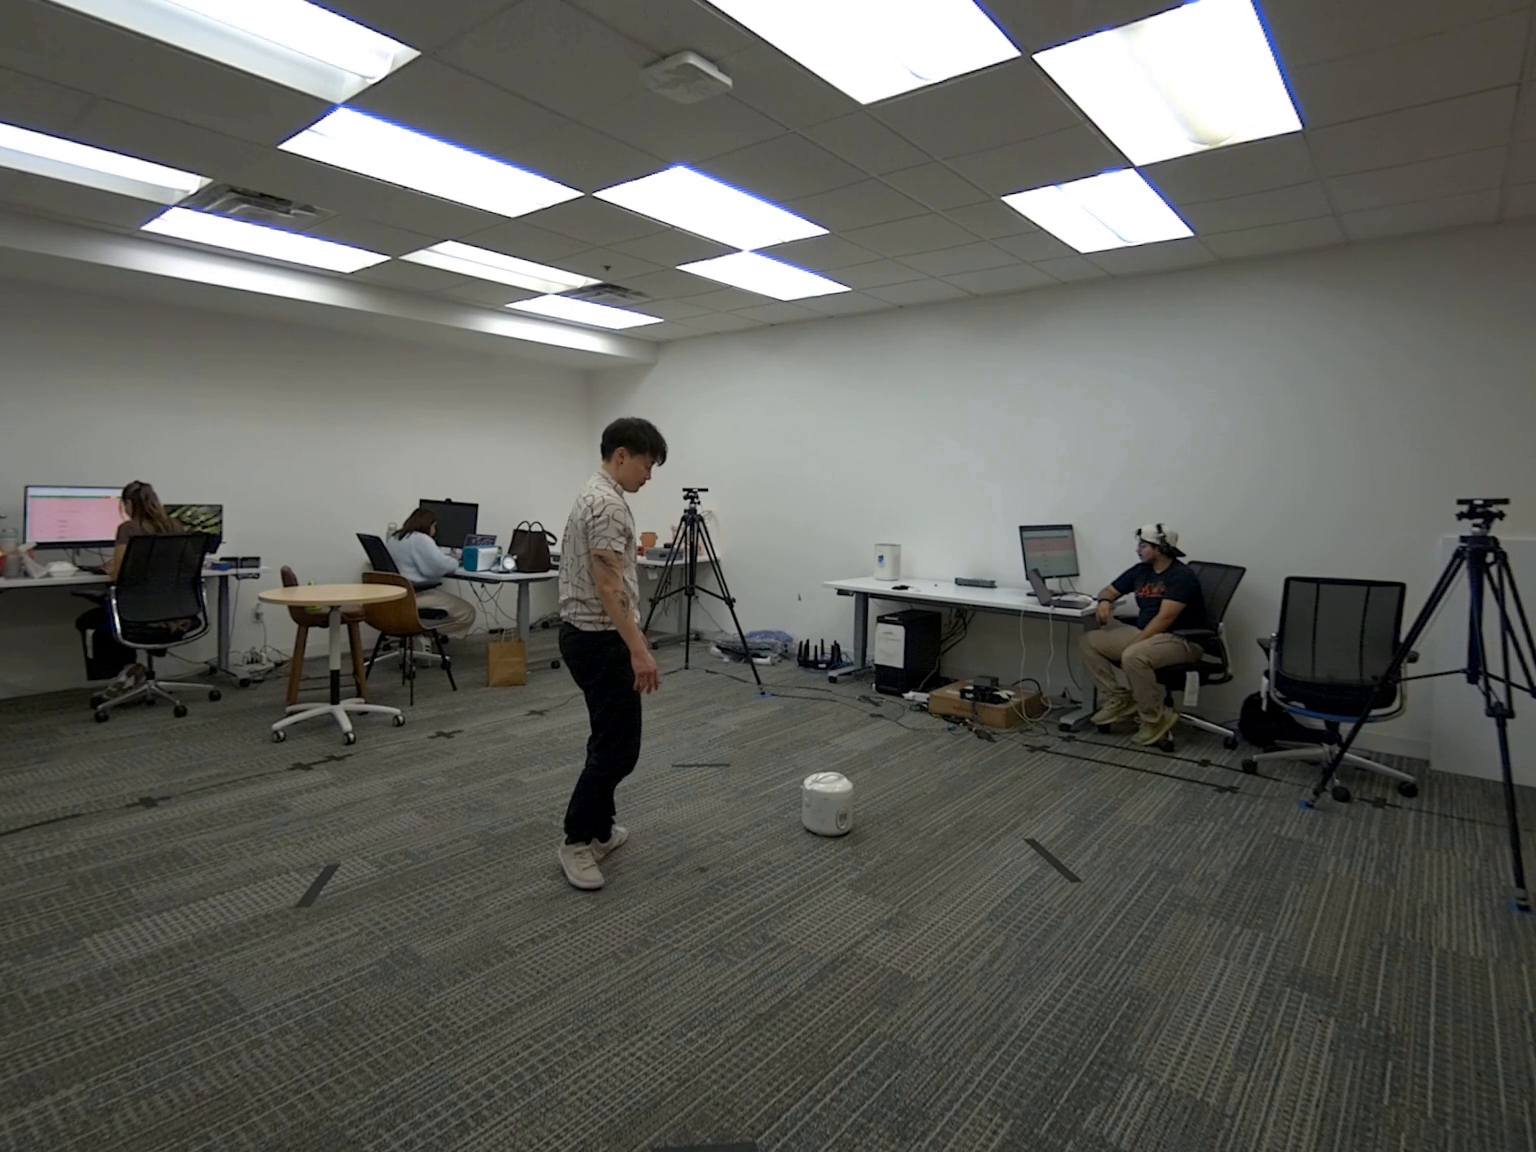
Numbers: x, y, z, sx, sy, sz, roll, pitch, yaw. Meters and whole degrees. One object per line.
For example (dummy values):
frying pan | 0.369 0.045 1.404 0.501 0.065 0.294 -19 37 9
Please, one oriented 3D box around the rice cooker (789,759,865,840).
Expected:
rice cooker | 0.241 0.922 3.496 0.215 0.232 0.224 -1 3 -29
